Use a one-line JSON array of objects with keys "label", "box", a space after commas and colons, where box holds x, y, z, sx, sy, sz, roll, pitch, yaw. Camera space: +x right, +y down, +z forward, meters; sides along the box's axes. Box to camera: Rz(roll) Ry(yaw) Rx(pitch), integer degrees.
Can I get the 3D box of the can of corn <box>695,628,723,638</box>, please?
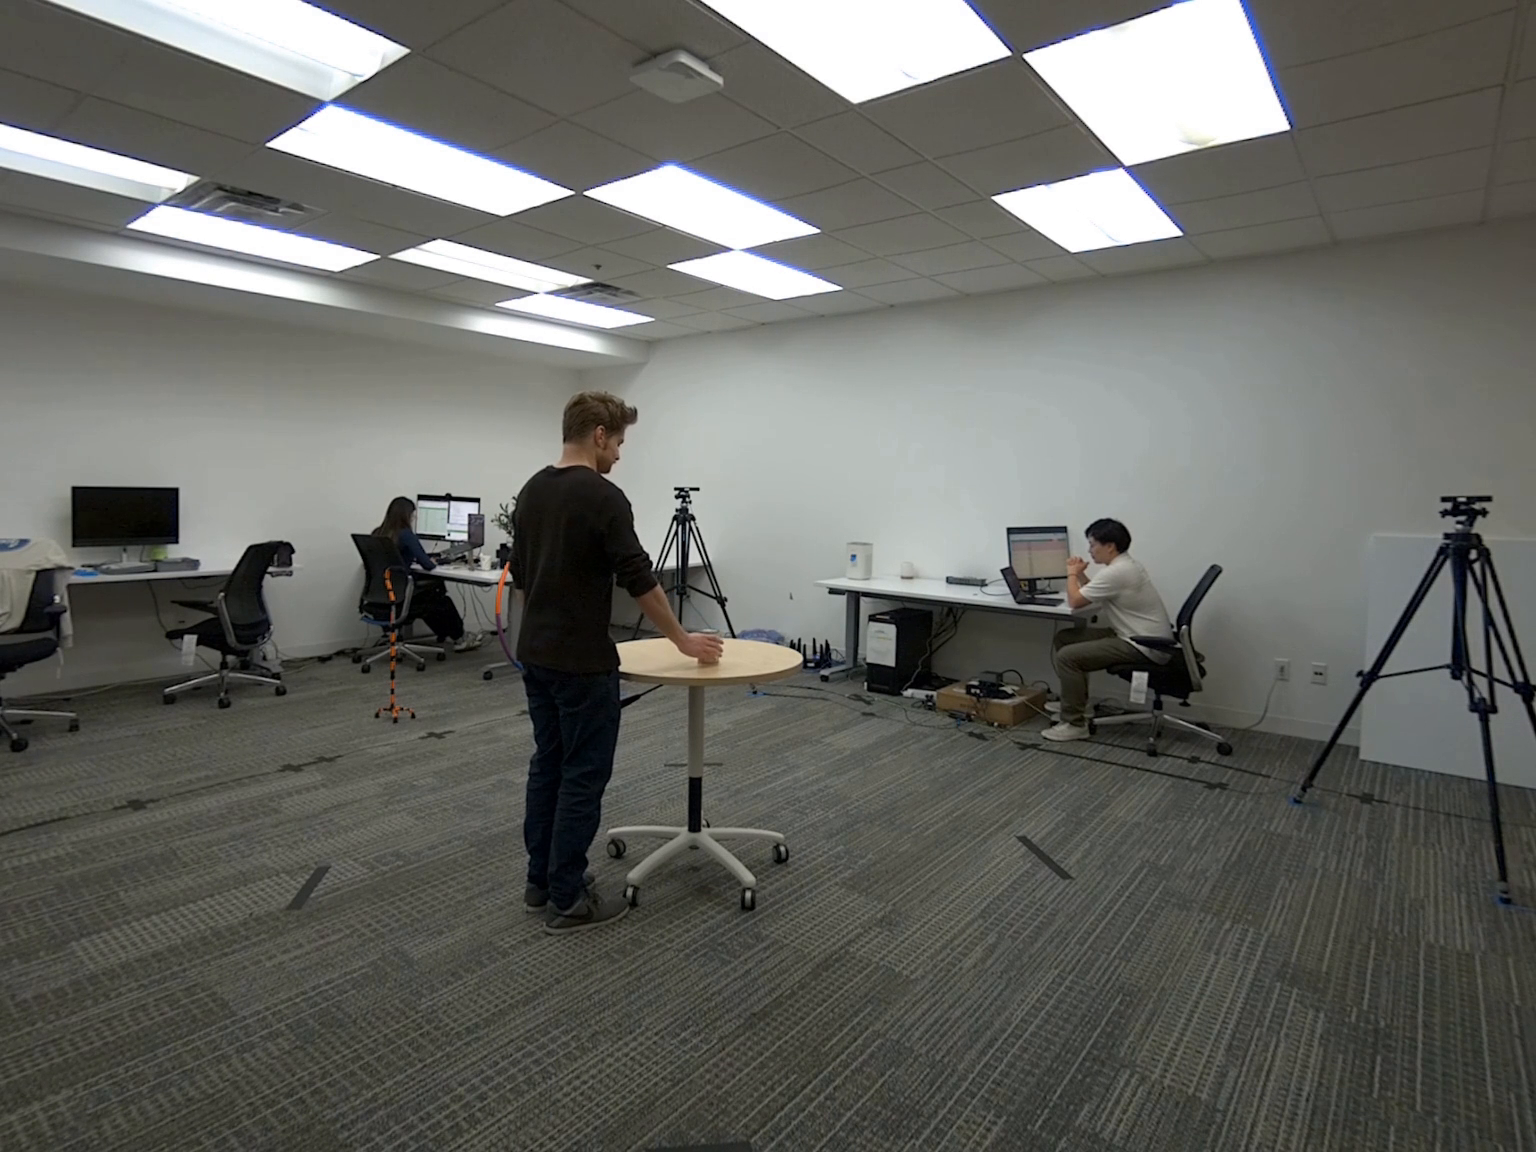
[{"label": "can of corn", "box": [-0.217, 0.244, 2.934, 0.074, 0.110, 0.074, 2, 5, -2]}]
